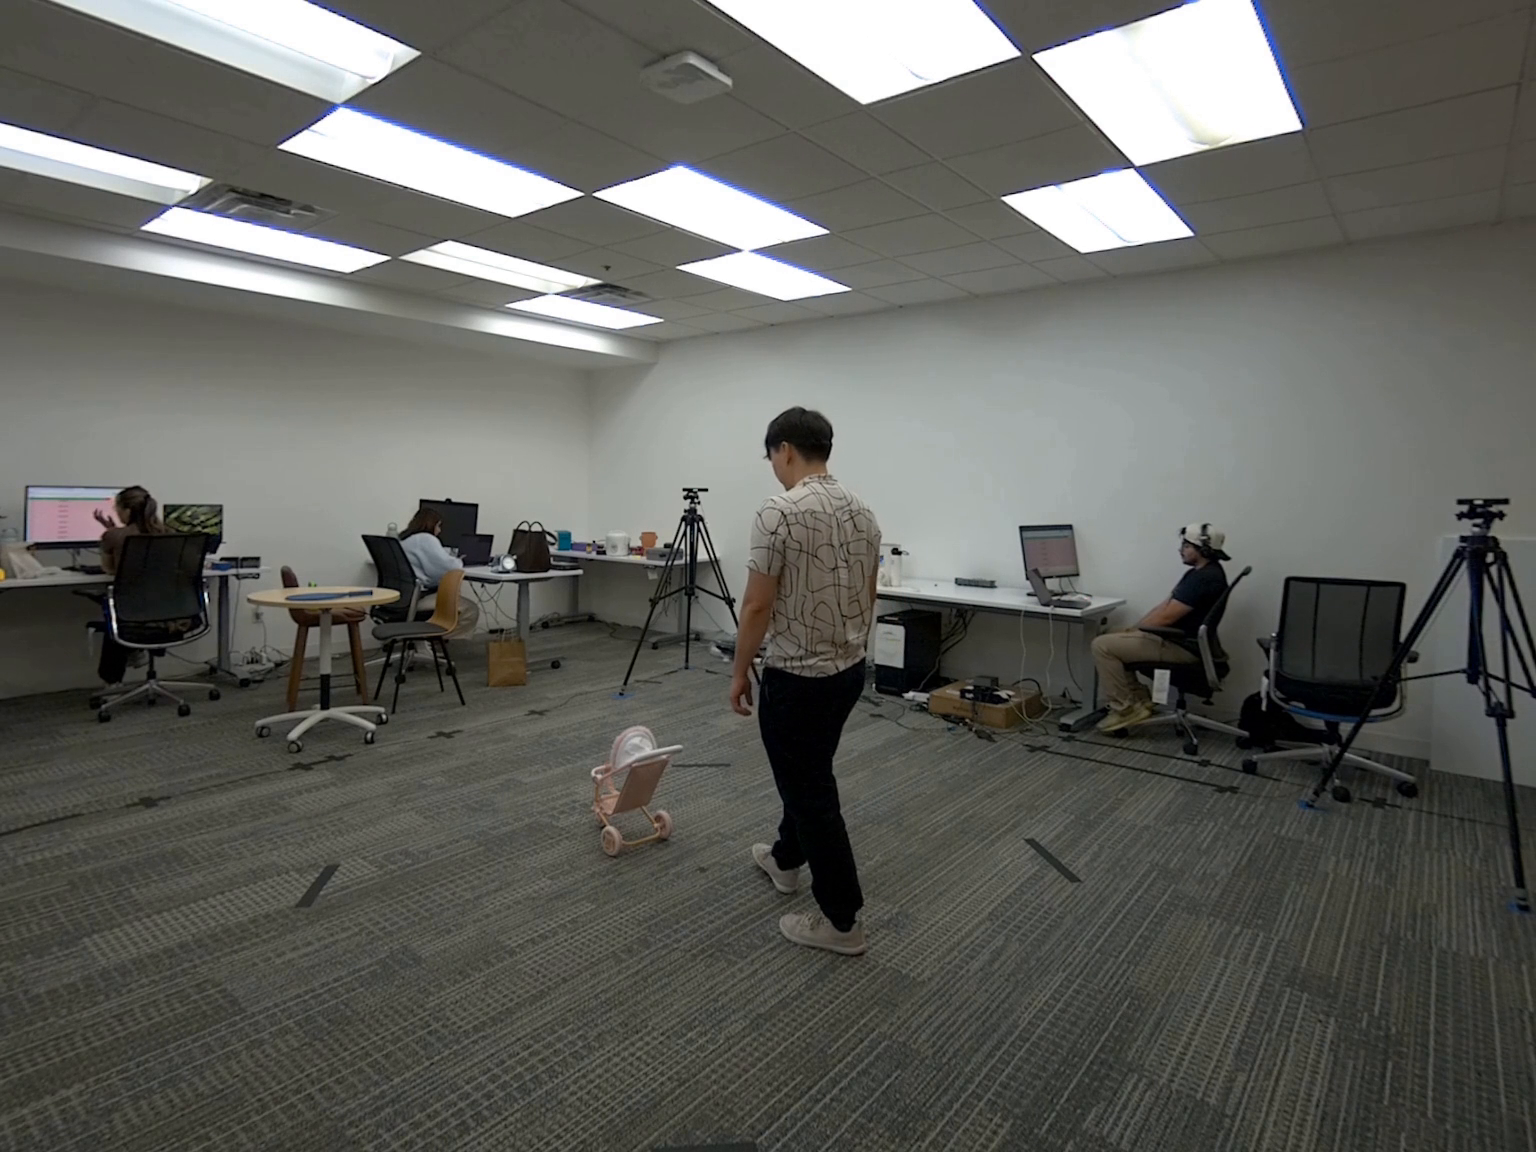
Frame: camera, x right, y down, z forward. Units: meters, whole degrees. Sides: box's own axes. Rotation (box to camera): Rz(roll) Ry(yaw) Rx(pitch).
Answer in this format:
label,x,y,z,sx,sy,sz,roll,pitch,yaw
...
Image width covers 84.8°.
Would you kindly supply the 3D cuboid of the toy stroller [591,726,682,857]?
label,x,y,z,sx,sy,sz,roll,pitch,yaw
toy stroller,-0.555,0.817,3.333,0.273,0.529,0.356,-2,22,-40
